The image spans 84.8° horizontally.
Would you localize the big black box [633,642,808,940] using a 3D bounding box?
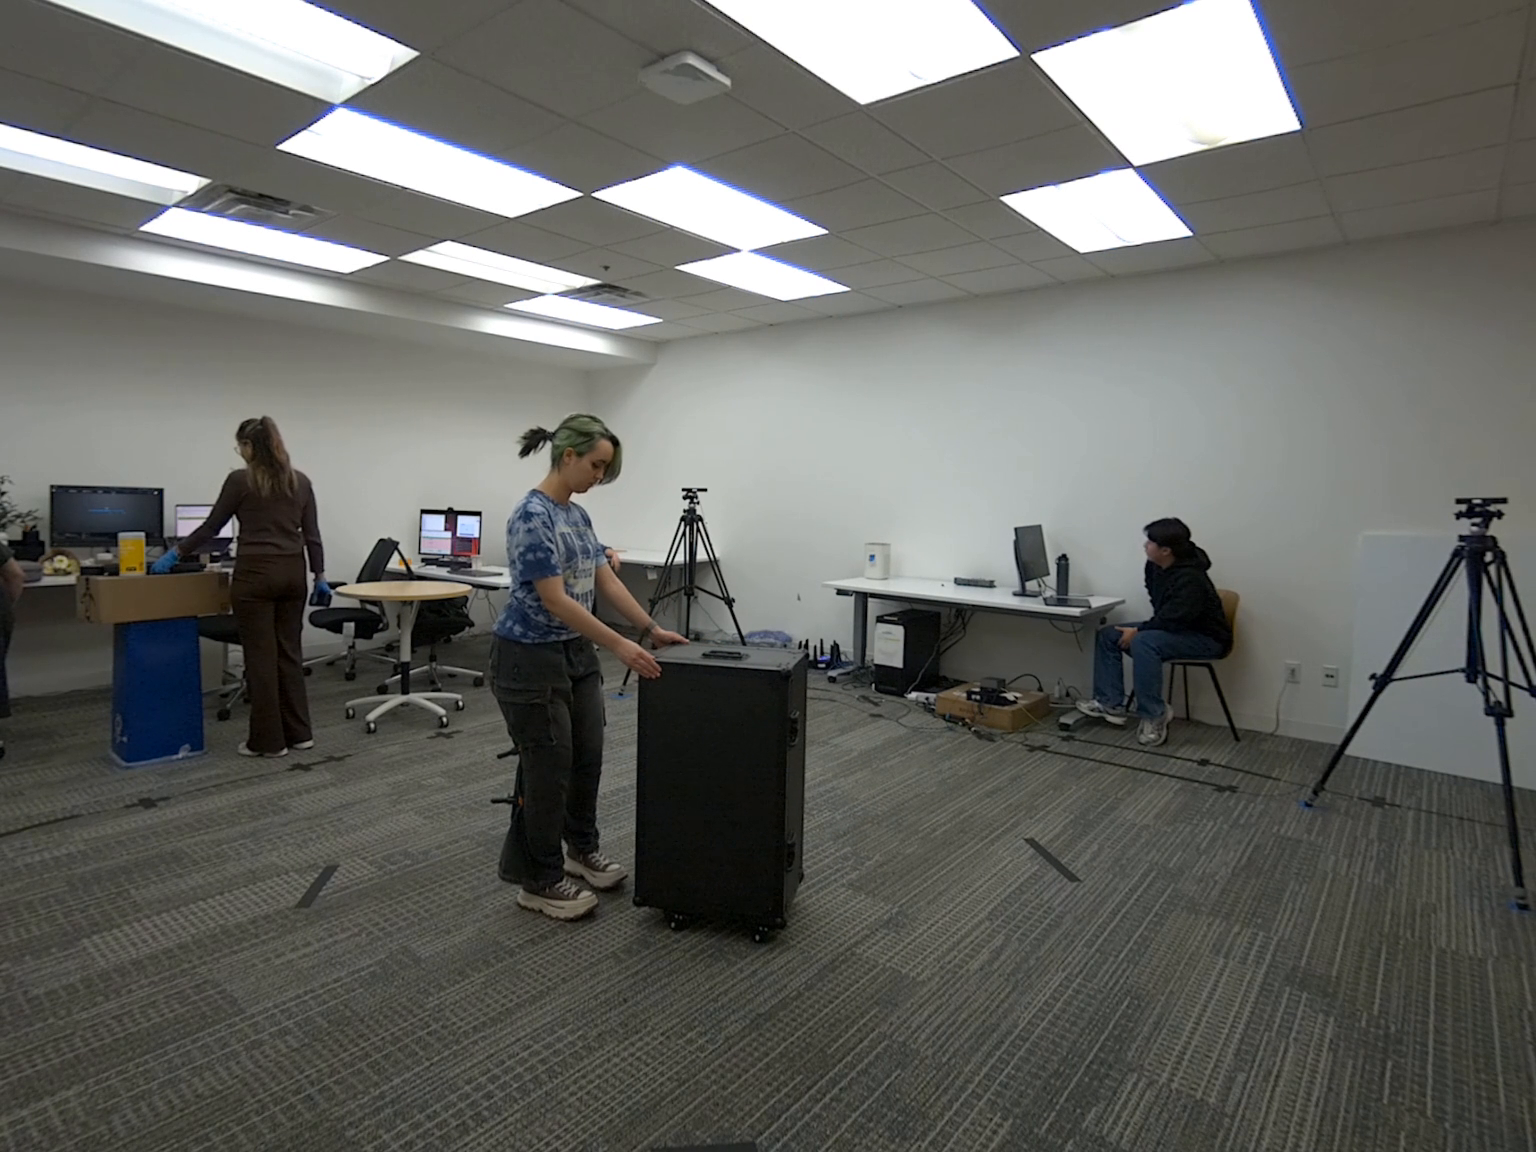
[{"bbox_3d":[-0.156,0.685,2.775,0.530,0.860,0.391,1,2,14],"label":"big black box"}]
